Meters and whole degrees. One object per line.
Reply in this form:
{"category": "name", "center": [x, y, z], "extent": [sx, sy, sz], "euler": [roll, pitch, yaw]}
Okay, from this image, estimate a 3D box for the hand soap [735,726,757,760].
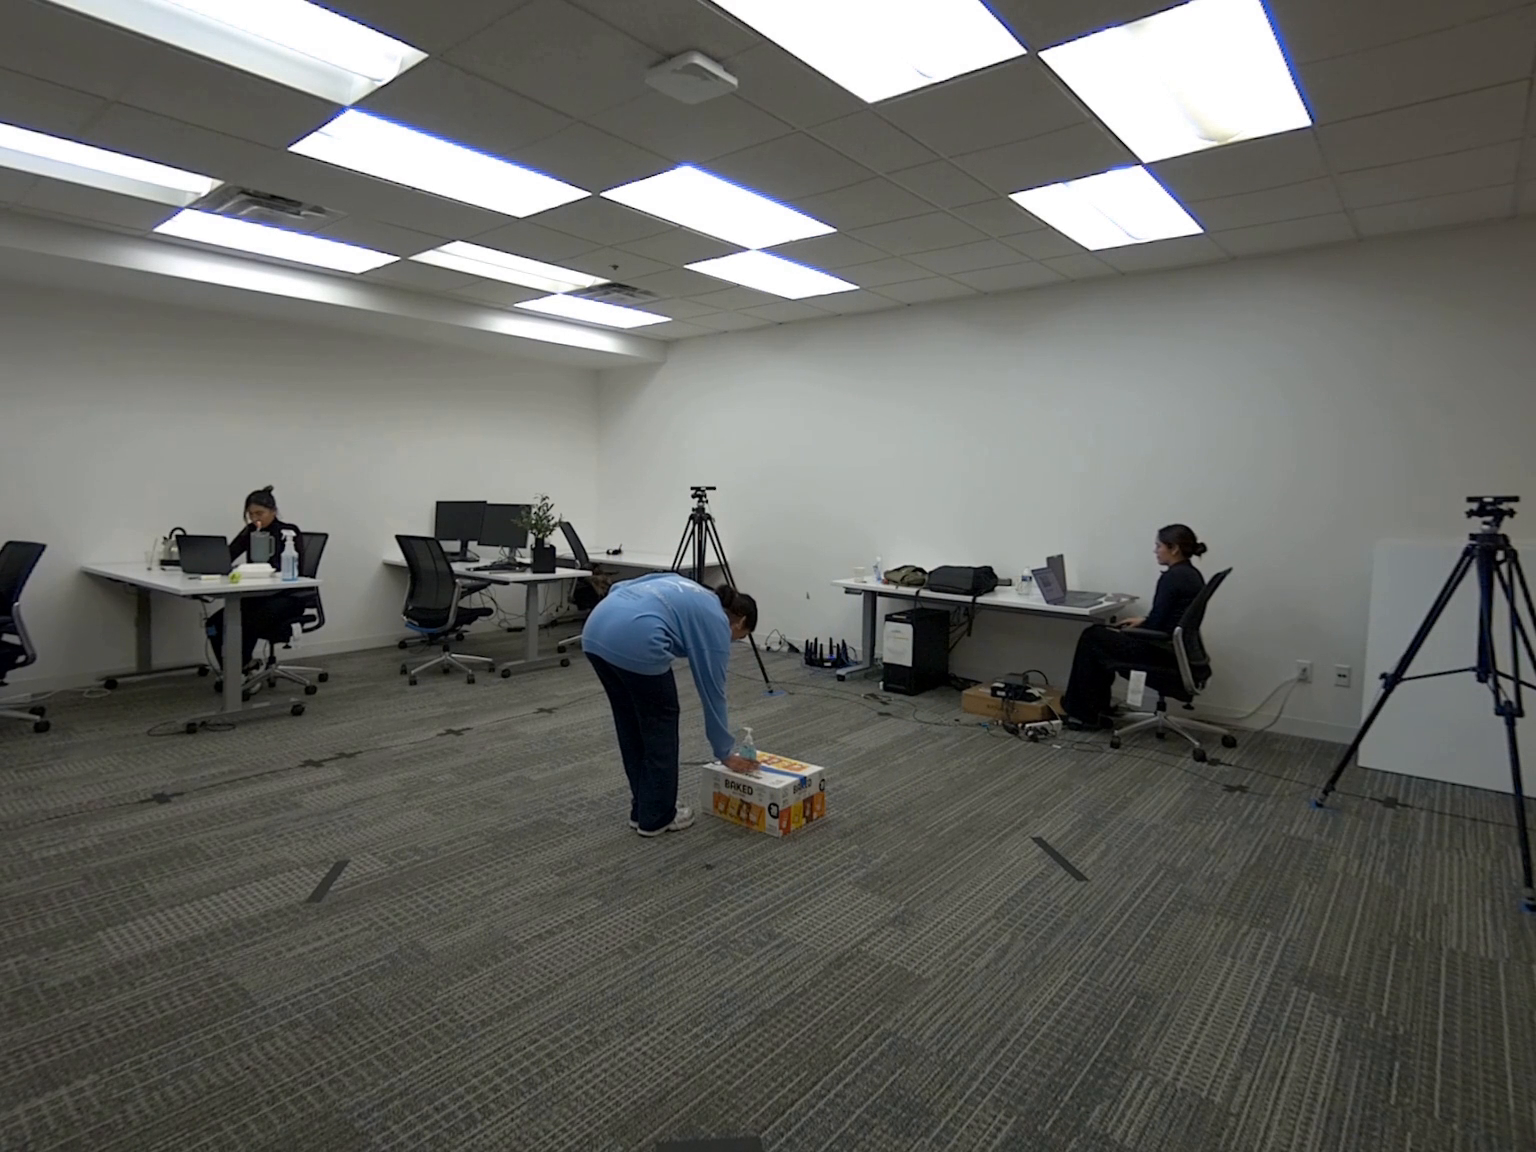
{"category": "hand soap", "center": [-0.096, 0.739, 3.647], "extent": [0.087, 0.168, 0.042], "euler": [7, 4, 35]}
